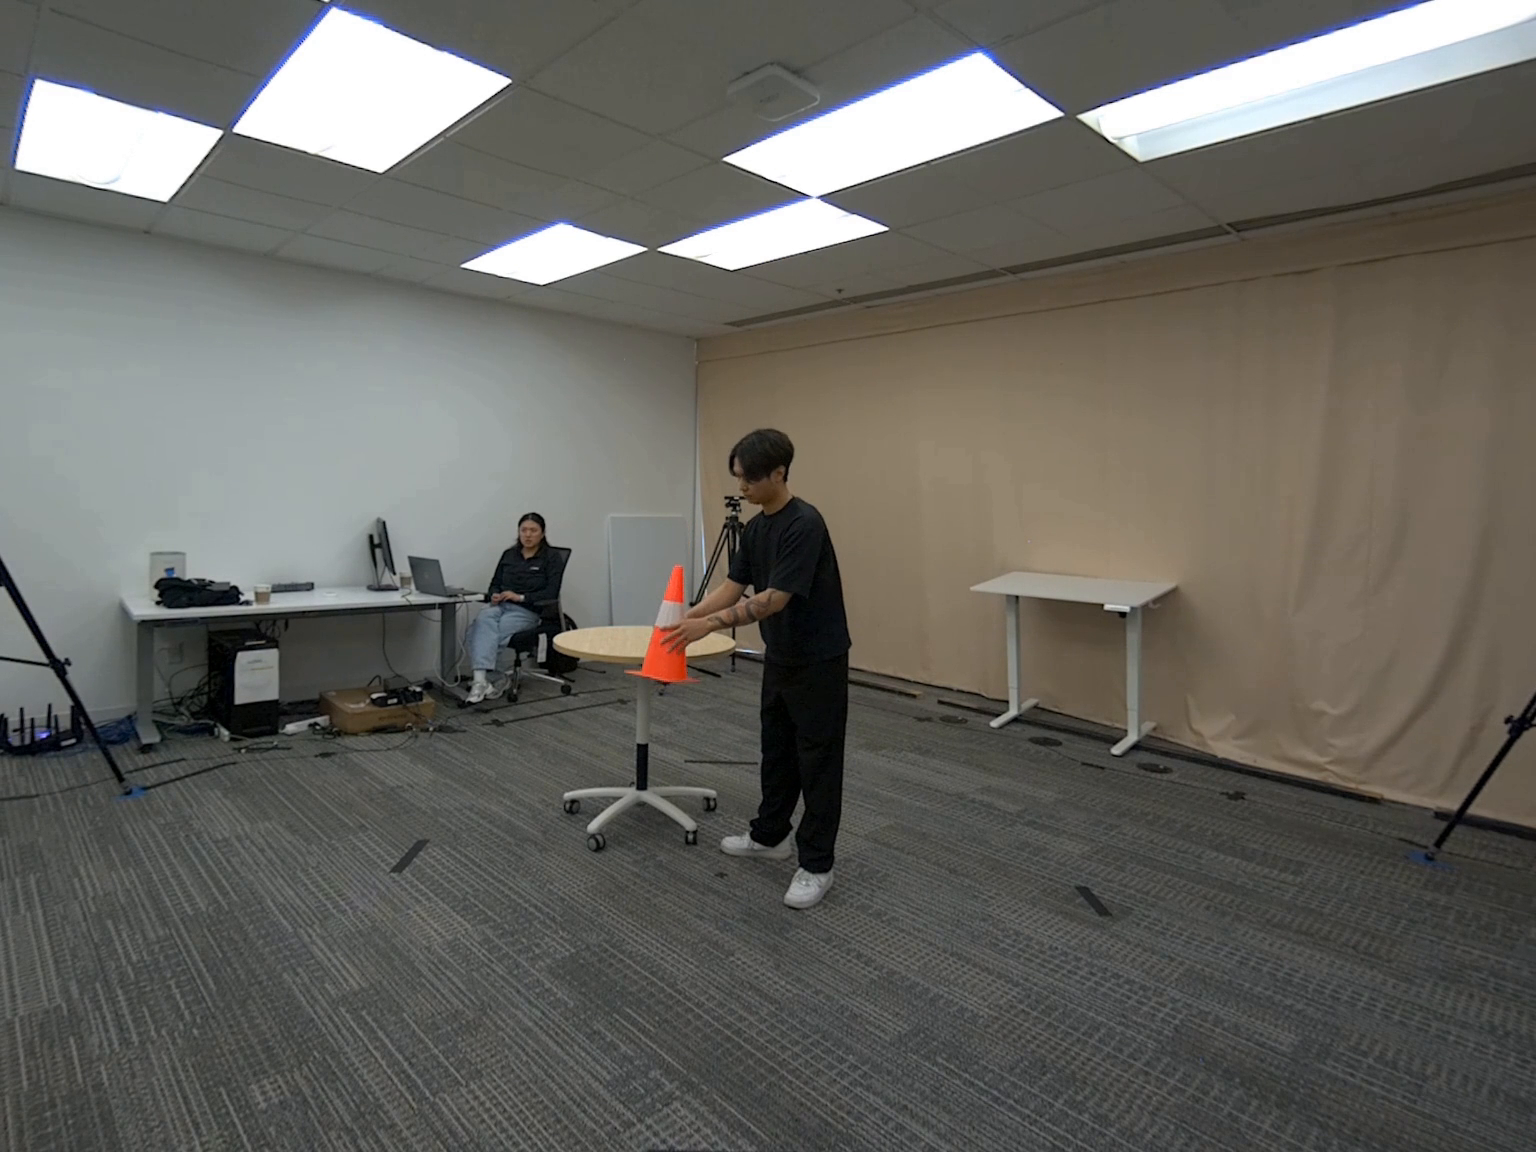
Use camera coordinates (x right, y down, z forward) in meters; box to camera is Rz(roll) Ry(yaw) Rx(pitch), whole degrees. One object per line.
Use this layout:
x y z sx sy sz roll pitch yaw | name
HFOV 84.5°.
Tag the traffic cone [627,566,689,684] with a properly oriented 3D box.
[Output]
-0.345 0.162 2.901 0.208 0.384 0.200 6 -3 29 | traffic cone
